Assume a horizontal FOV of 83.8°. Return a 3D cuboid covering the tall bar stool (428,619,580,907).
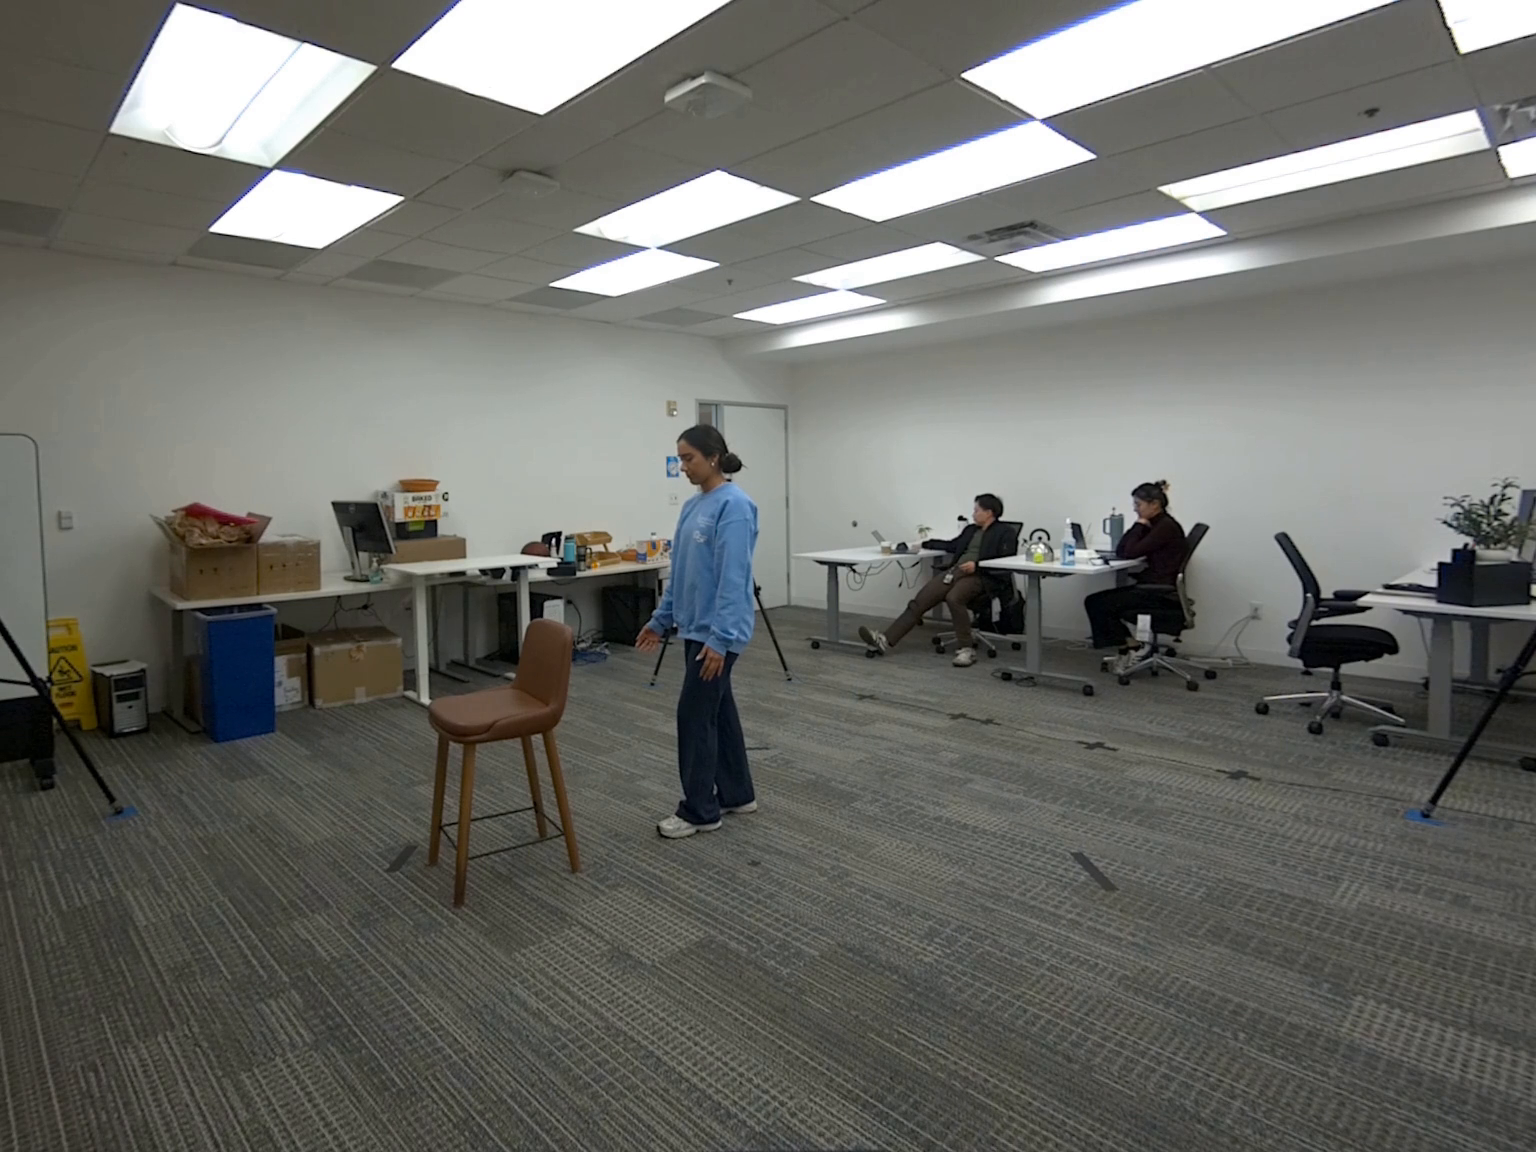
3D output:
[{"bbox_3d":[-0.957,0.625,3.081,0.456,0.887,0.470,-1,4,-33],"label":"tall bar stool"}]
